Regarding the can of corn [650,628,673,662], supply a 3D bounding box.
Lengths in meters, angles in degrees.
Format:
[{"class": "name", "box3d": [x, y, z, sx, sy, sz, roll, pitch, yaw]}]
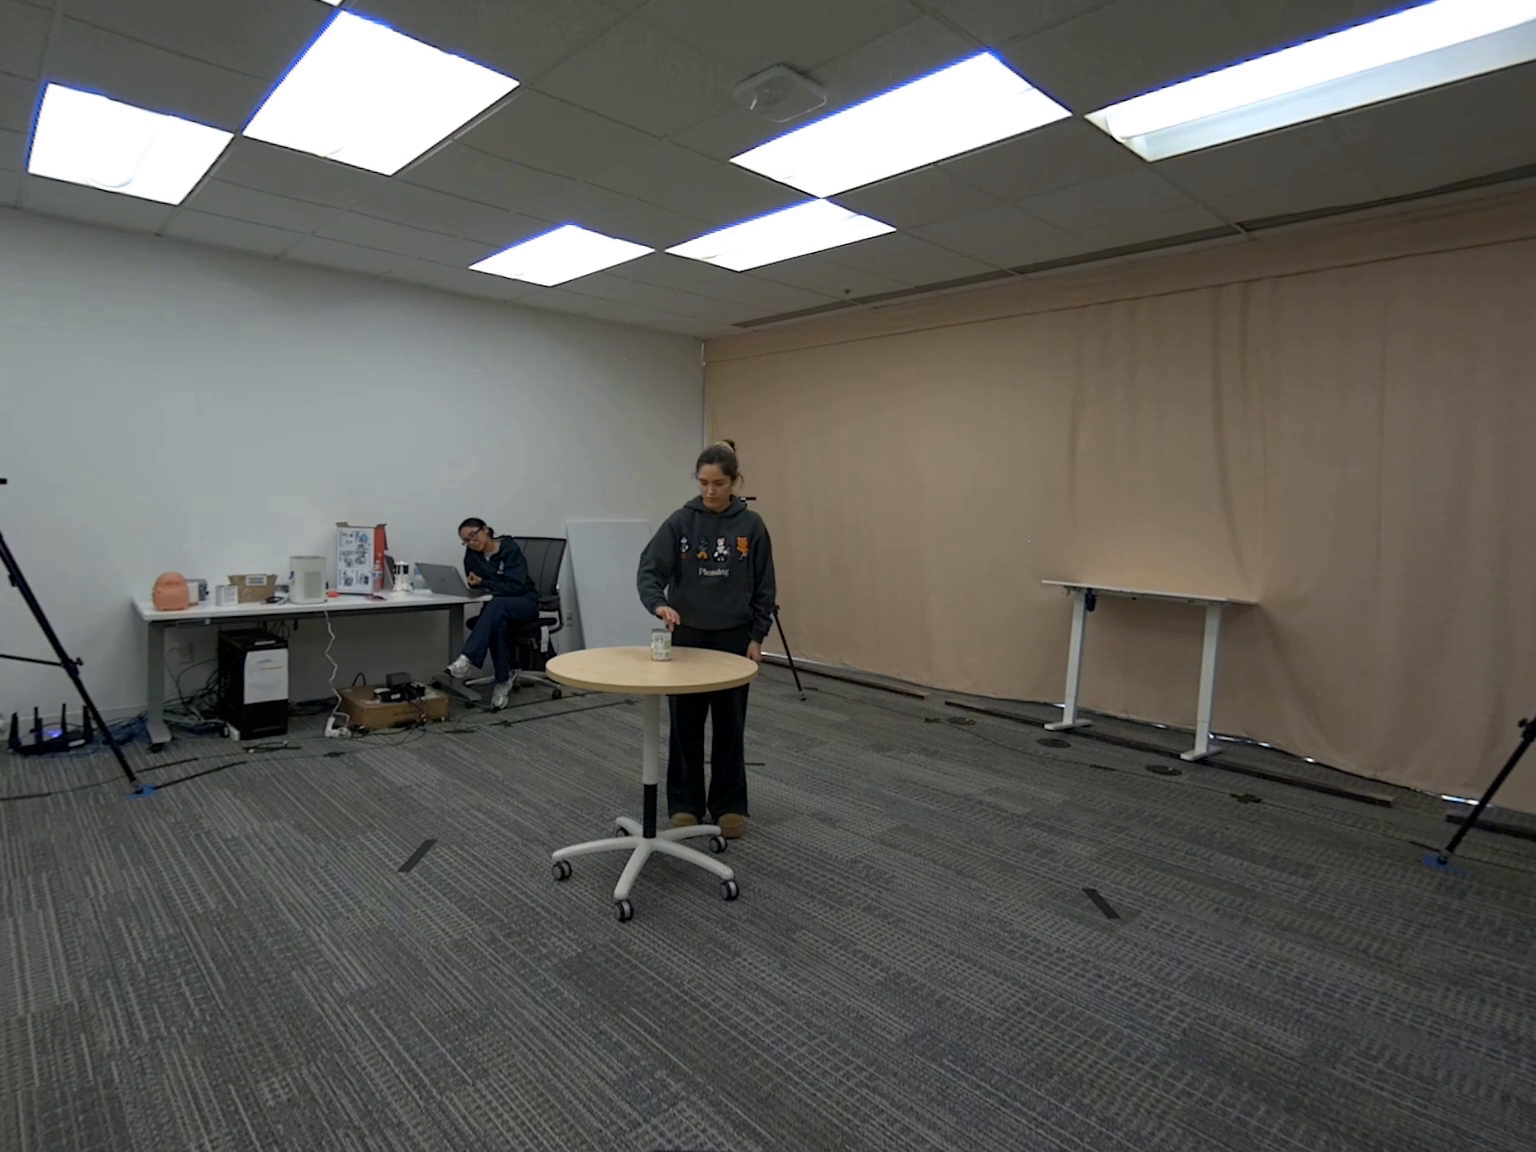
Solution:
[{"class": "can of corn", "box3d": [-0.417, 0.261, 3.150, 0.074, 0.111, 0.074, 2, -1, -1]}]
